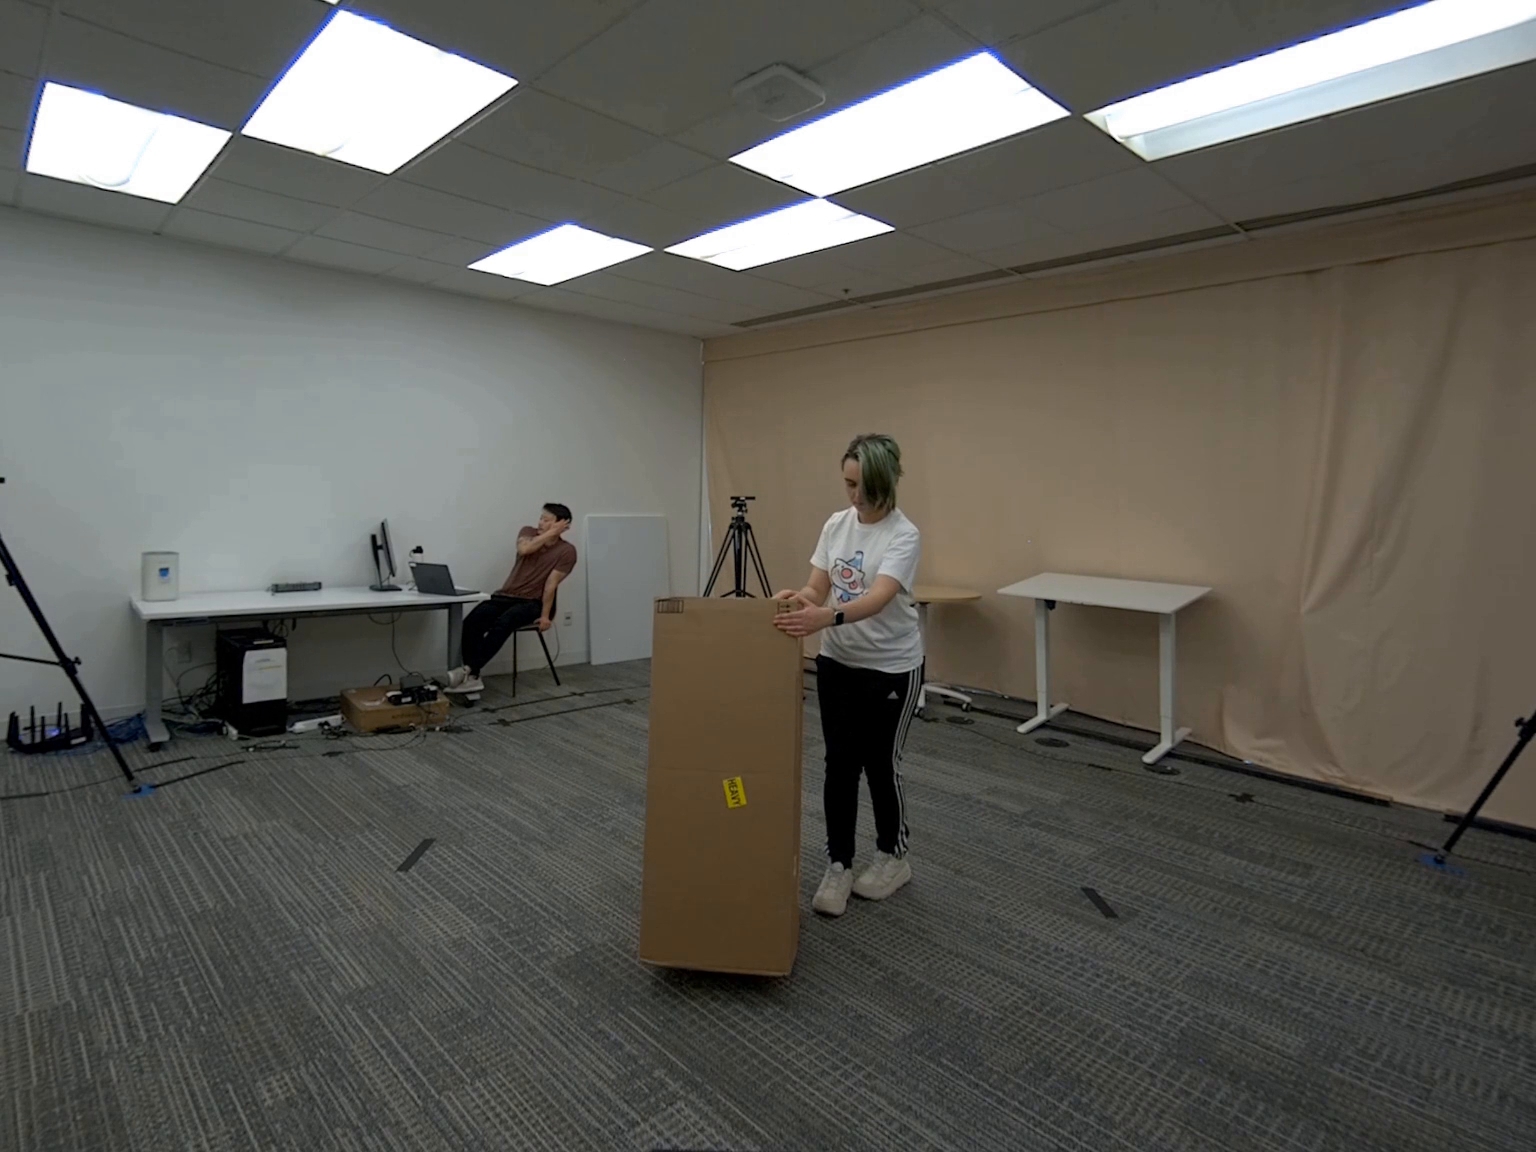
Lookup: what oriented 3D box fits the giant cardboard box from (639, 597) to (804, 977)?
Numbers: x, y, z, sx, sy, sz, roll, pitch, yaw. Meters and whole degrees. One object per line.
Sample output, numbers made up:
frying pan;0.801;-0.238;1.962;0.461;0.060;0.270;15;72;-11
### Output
giant cardboard box;-0.117;0.606;2.641;0.428;1.031;0.572;1;-7;5
